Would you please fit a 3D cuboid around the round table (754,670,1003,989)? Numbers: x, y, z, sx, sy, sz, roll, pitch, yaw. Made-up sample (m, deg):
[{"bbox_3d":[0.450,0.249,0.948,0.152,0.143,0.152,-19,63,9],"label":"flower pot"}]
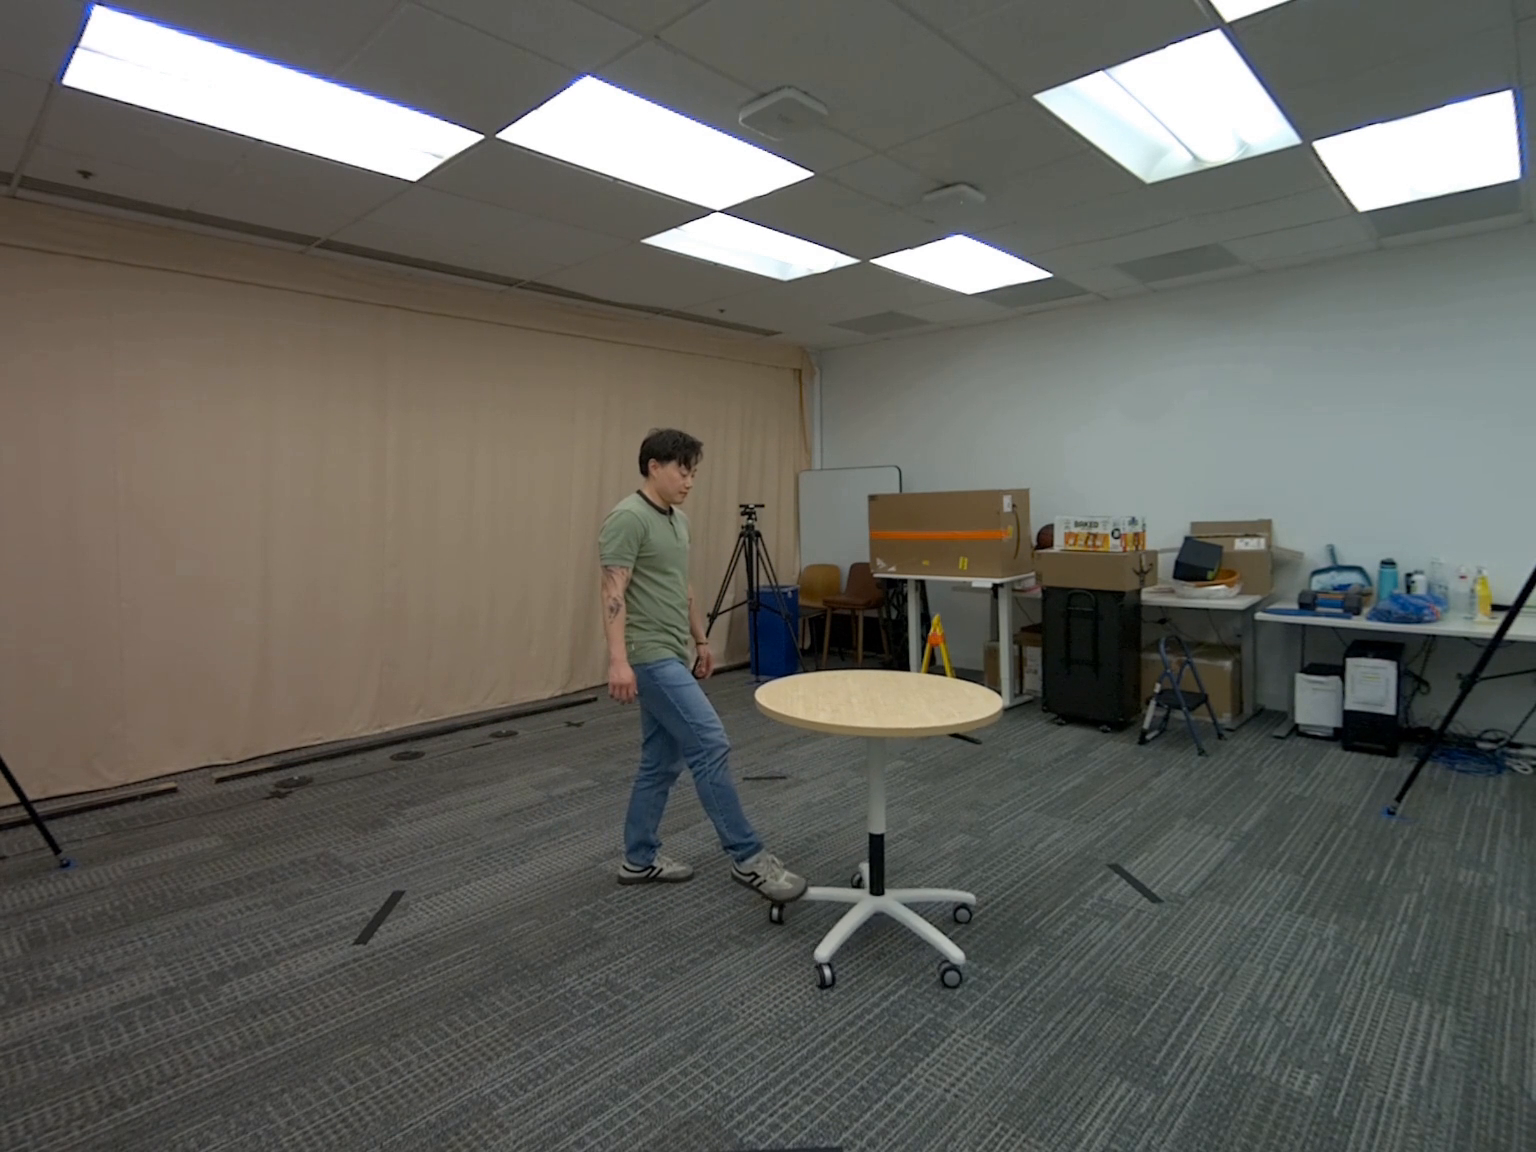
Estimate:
[{"bbox_3d":[0.346,0.770,2.682,0.763,0.792,0.767,-1,4,-2],"label":"round table"}]
